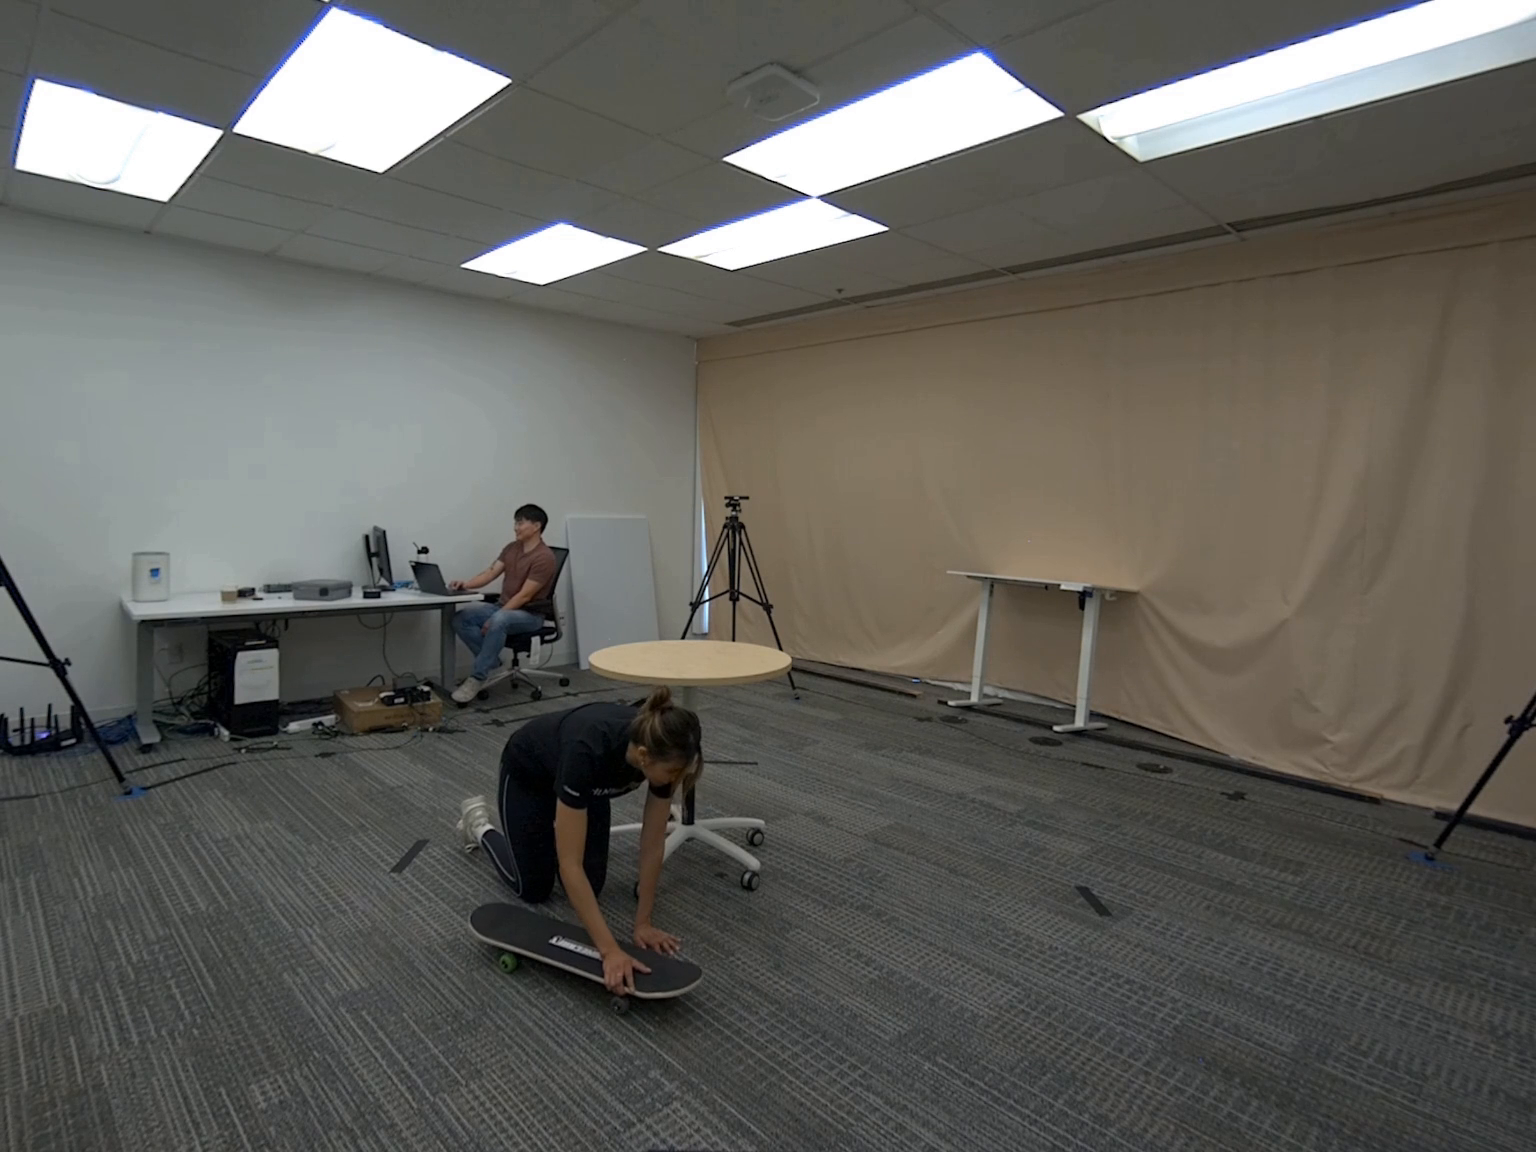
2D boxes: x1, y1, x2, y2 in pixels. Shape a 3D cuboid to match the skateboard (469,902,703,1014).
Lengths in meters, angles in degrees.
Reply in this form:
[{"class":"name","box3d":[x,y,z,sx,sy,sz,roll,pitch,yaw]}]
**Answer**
[{"class":"skateboard","box3d":[-0.556,1.105,2.417,0.802,0.110,0.190,4,5,28]}]
